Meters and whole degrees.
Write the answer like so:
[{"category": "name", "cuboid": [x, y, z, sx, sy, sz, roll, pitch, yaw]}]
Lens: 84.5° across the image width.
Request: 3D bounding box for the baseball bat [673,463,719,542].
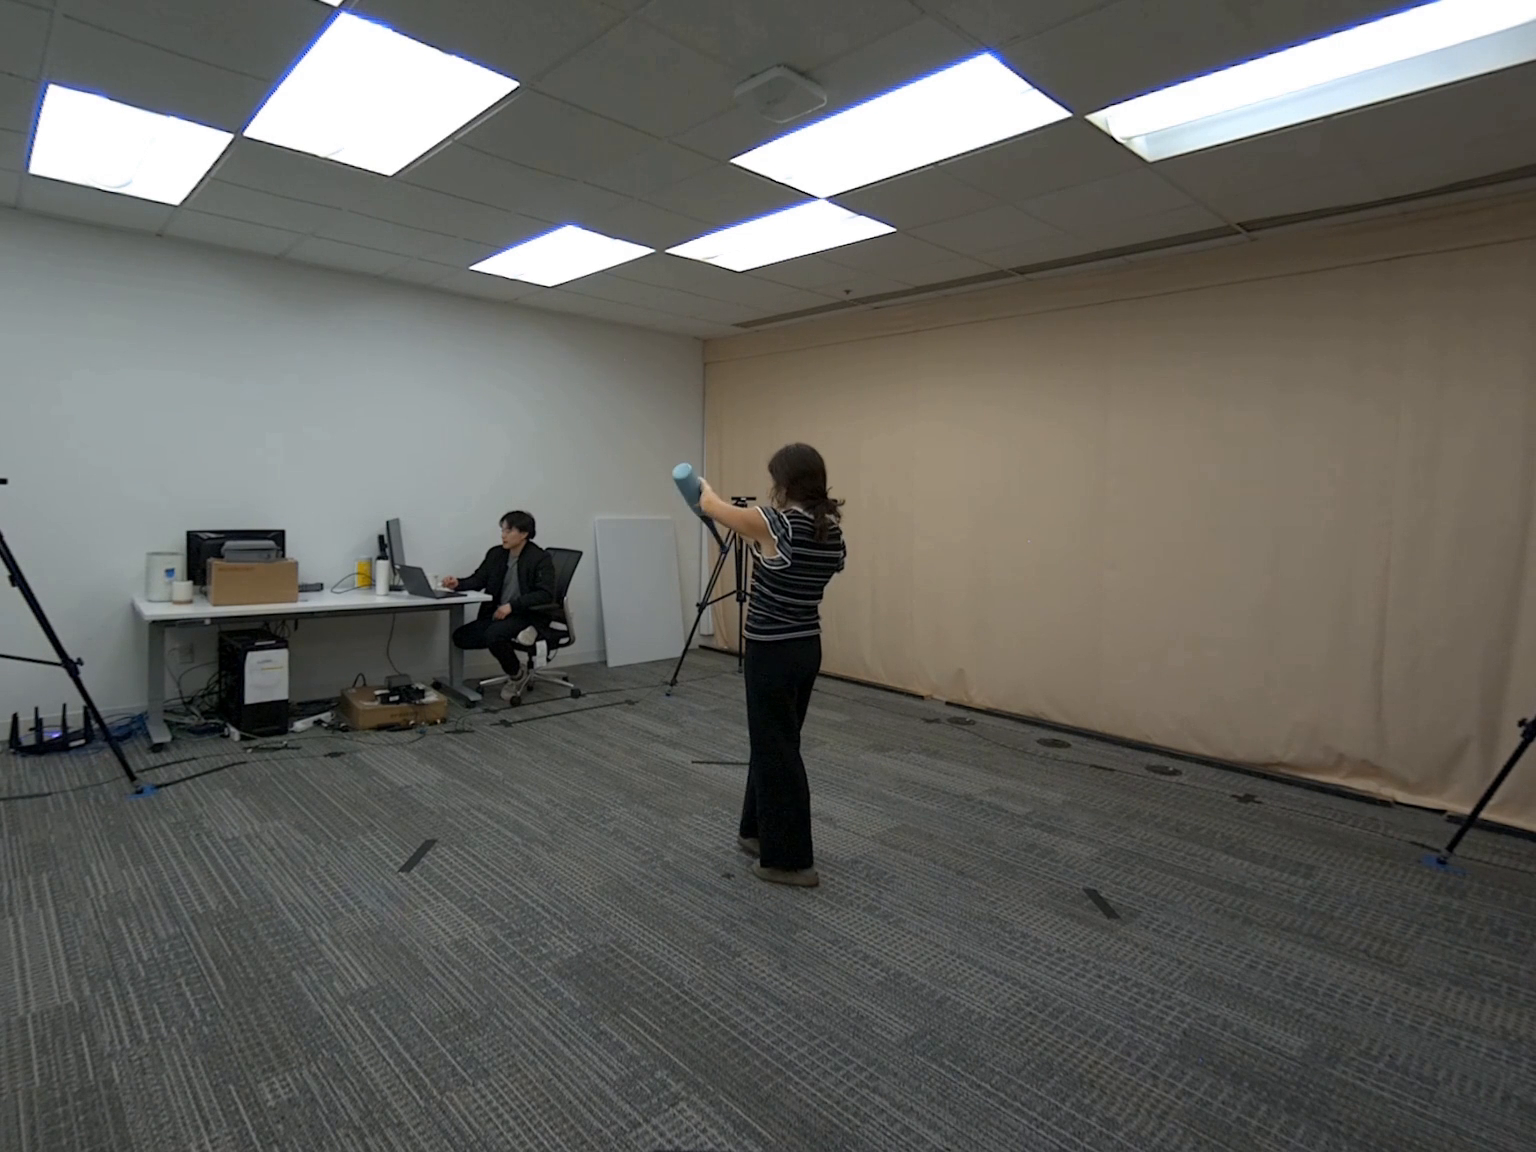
[{"category": "baseball bat", "cuboid": [-0.263, -0.254, 3.443, 0.090, 0.090, 0.527, 3, -34, 22]}]
